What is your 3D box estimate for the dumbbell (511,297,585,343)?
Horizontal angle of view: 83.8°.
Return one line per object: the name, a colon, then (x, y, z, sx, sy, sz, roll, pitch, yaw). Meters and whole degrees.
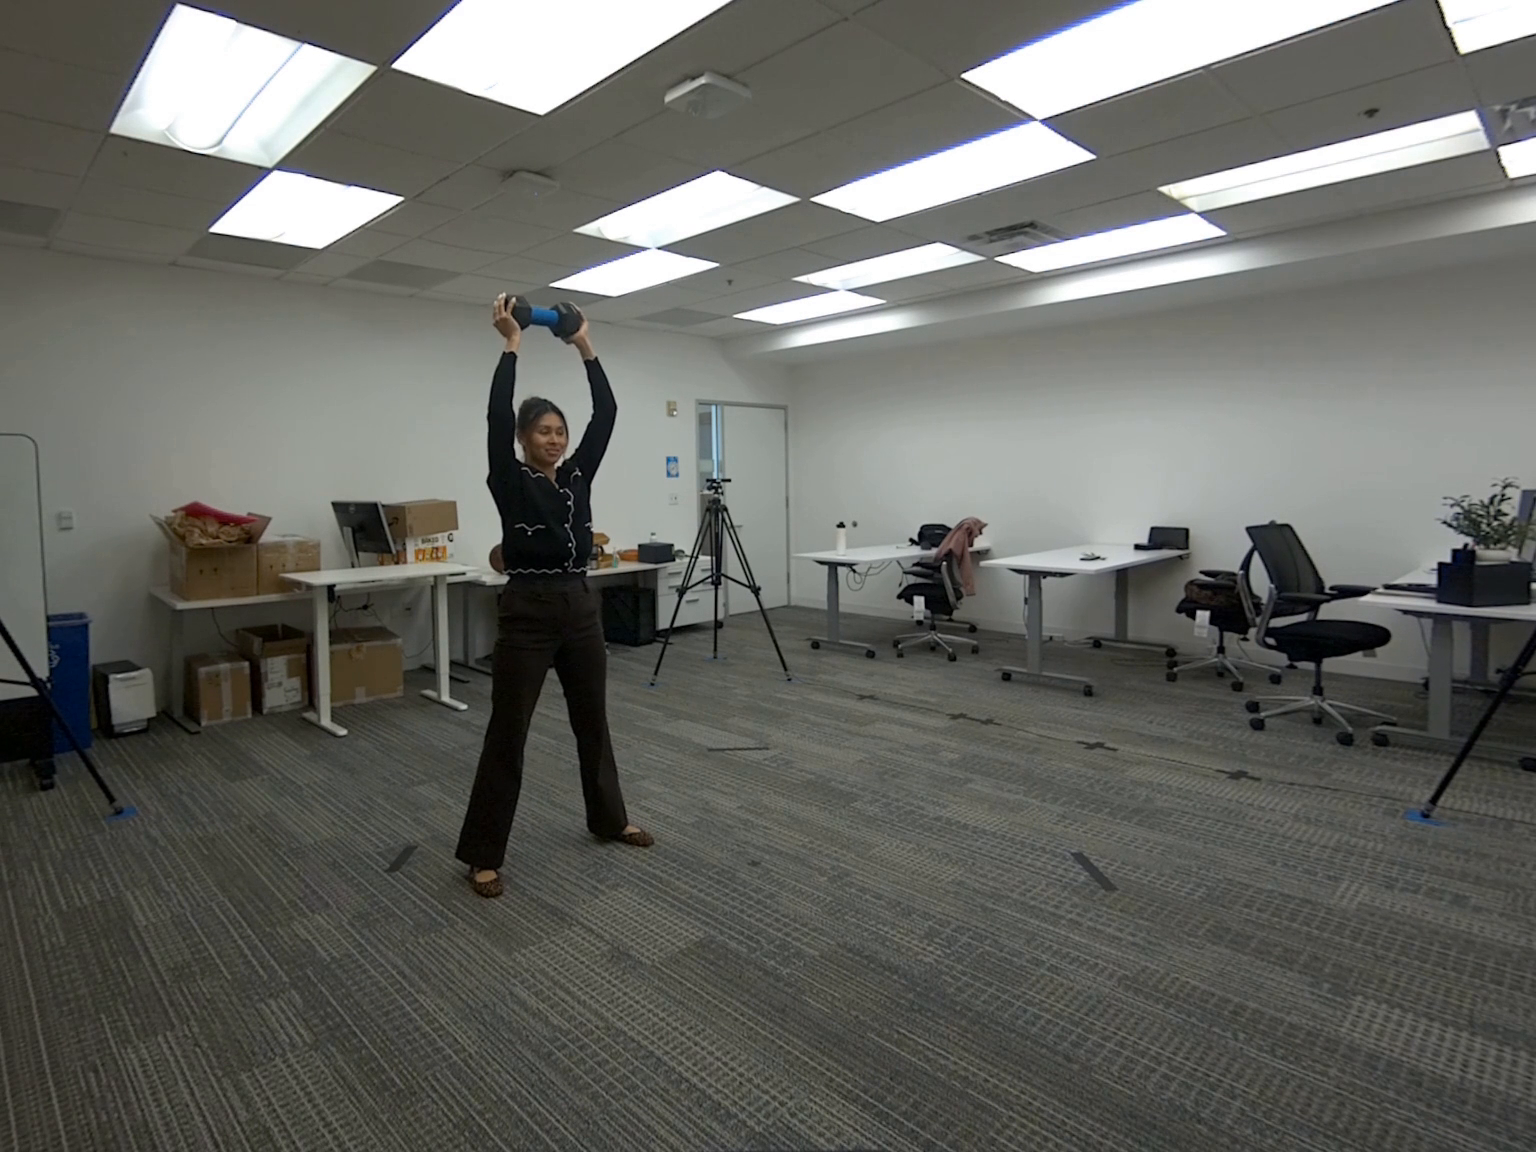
dumbbell: (-0.792, -0.891, 2.959, 0.286, 0.108, 0.126, -9, 53, -50)
